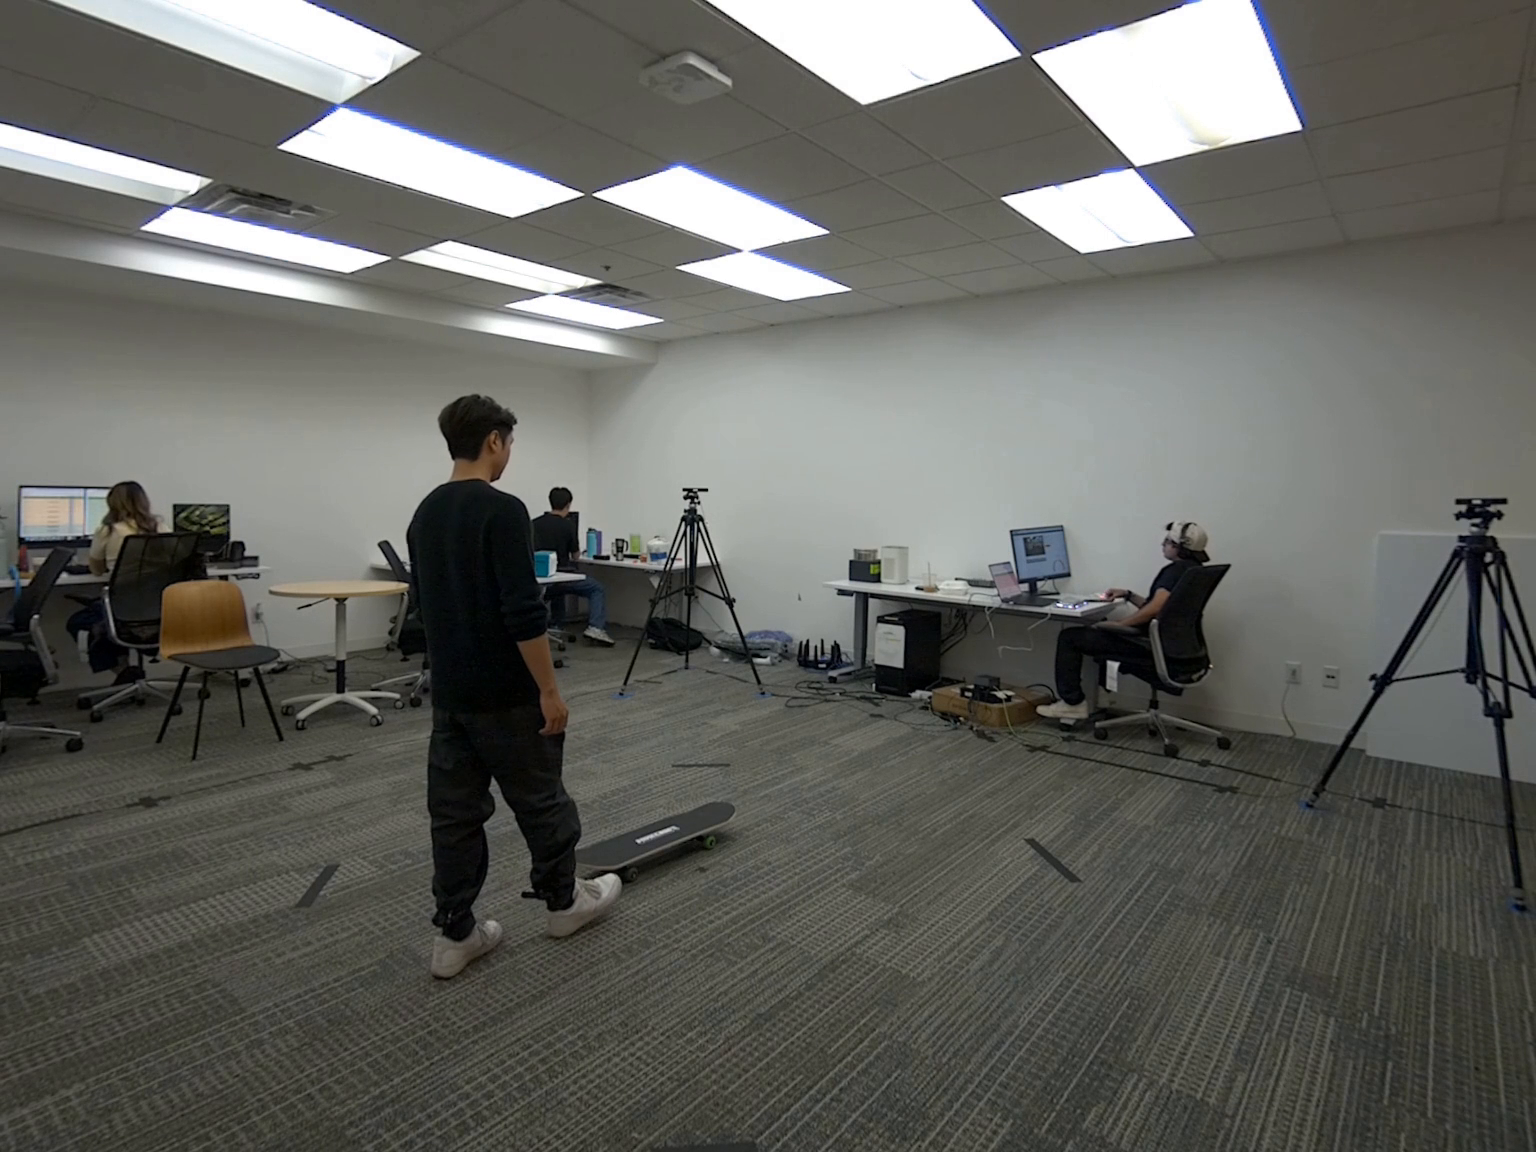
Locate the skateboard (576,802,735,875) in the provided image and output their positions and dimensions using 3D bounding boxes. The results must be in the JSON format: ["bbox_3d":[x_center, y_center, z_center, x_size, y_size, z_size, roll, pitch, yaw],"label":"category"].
[{"bbox_3d":[-0.420,1.002,3.200,0.200,0.110,0.762,6,8,42],"label":"skateboard"}]
